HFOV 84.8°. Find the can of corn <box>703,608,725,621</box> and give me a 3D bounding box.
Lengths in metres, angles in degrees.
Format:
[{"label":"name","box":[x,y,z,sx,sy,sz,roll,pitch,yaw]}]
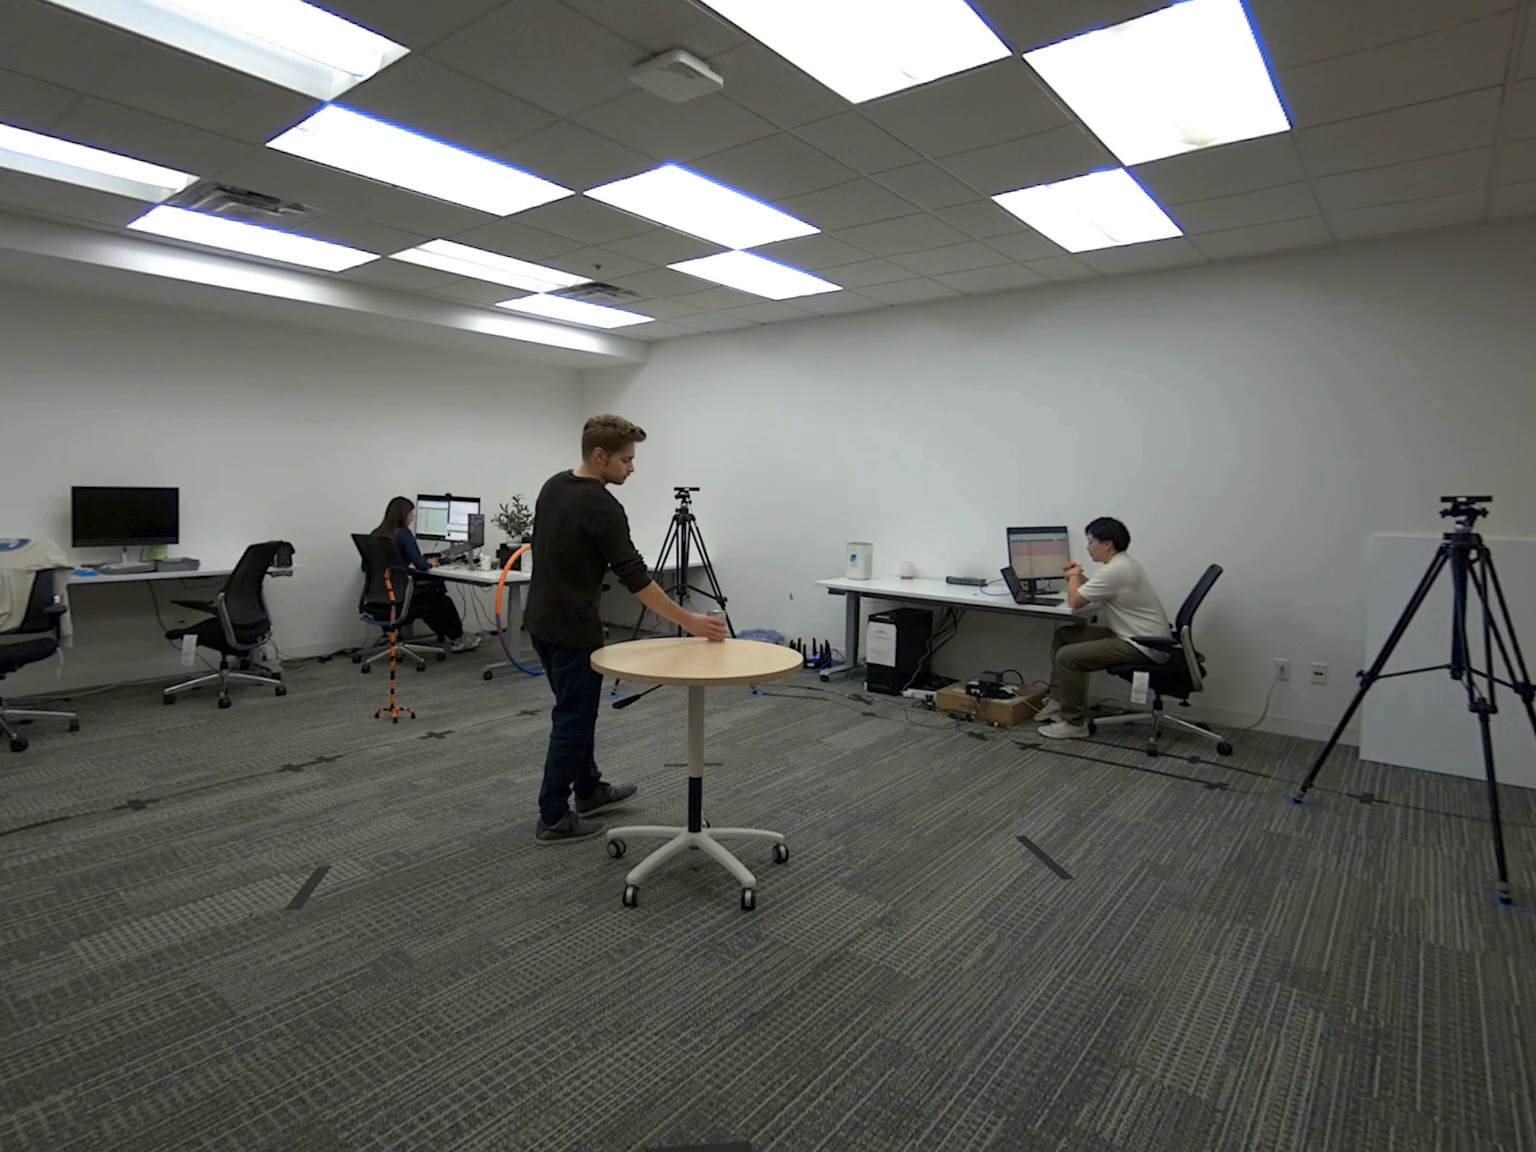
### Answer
[{"label":"can of corn","box":[-0.222,0.197,3.382,0.074,0.110,0.074,0,4,-2]}]
